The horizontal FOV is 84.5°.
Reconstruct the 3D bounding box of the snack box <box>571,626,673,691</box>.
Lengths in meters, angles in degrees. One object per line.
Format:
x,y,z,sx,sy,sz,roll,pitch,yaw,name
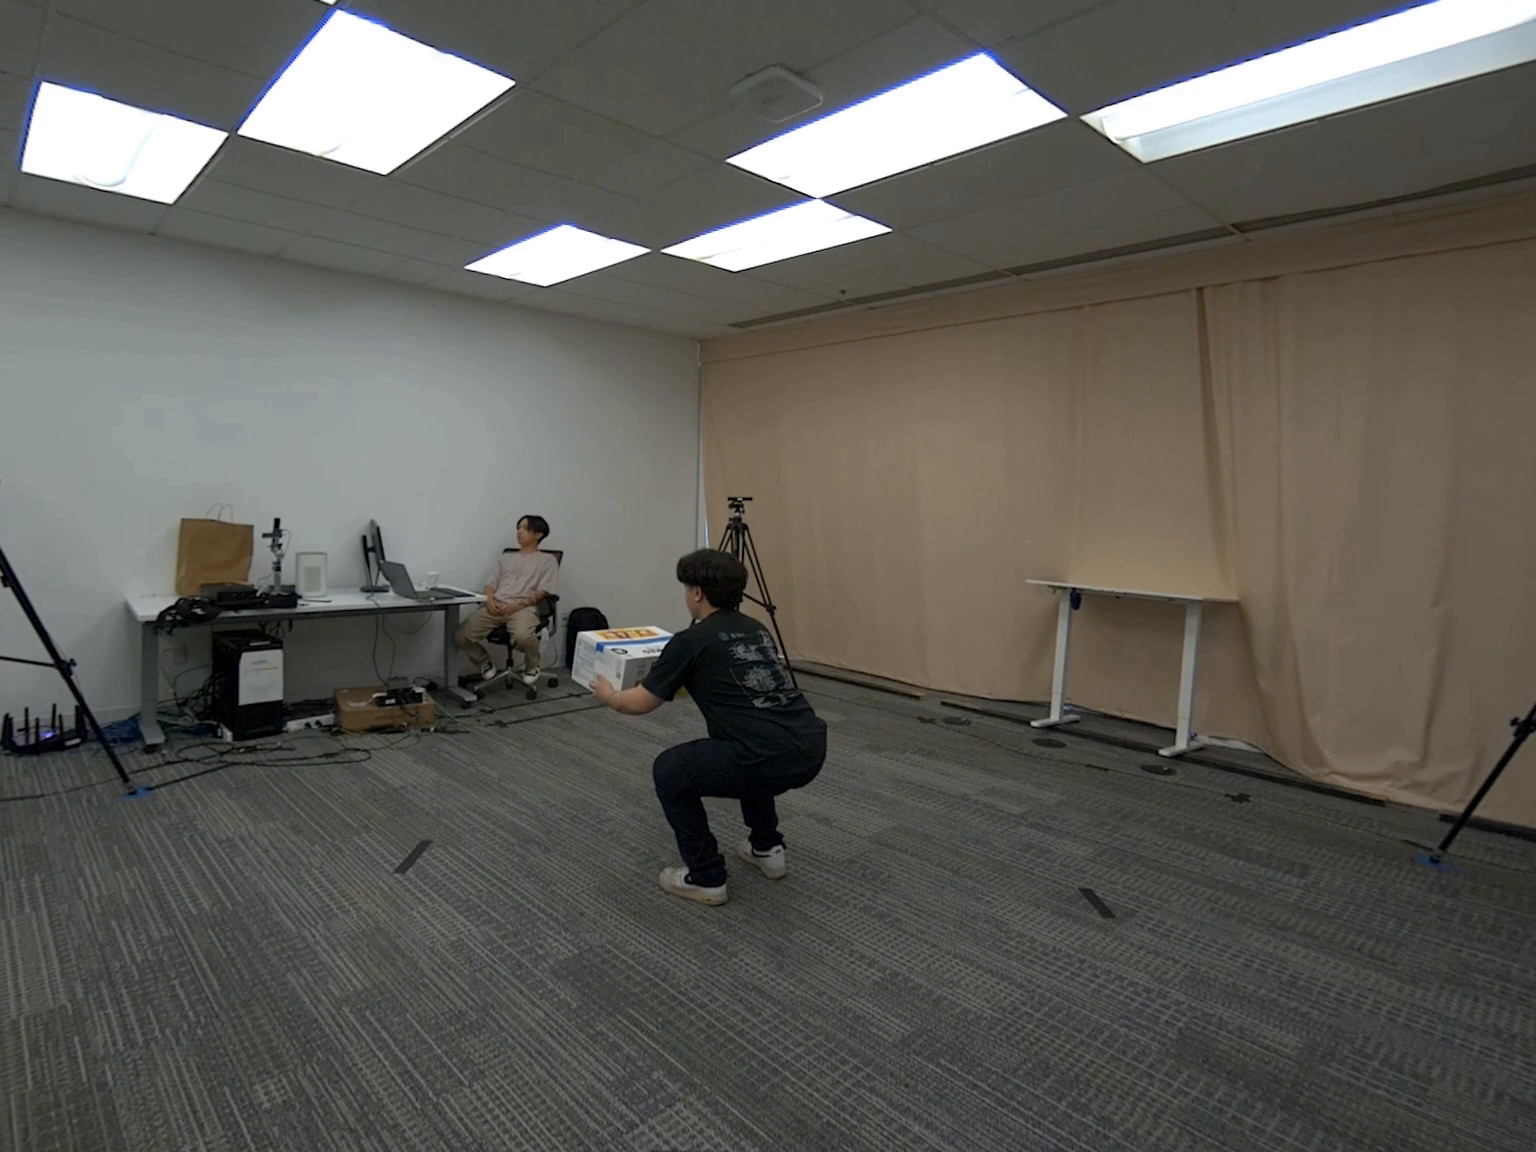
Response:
-0.539,0.363,3.458,0.396,0.204,0.350,-2,15,-45,snack box
